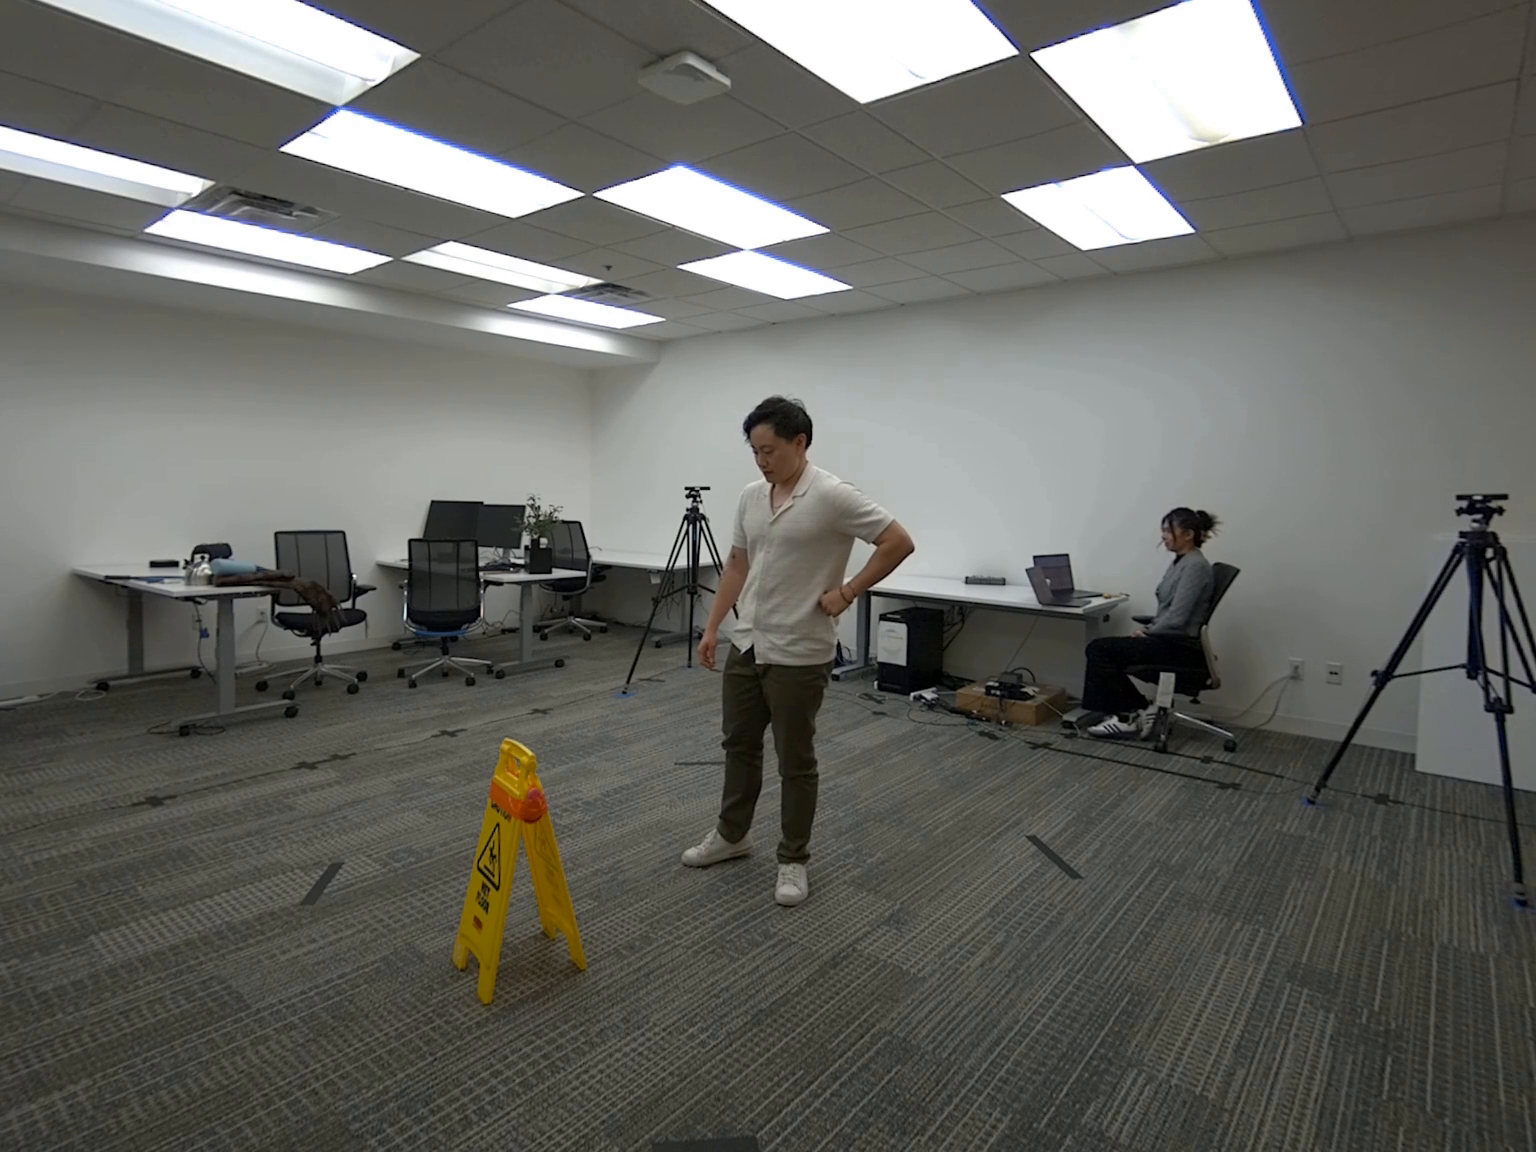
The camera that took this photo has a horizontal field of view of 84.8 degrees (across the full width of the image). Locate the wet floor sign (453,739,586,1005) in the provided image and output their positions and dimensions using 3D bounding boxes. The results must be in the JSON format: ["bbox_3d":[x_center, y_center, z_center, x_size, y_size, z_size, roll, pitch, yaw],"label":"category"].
[{"bbox_3d":[-0.726,0.804,2.447,0.281,0.644,0.291,-2,4,-38],"label":"wet floor sign"}]
